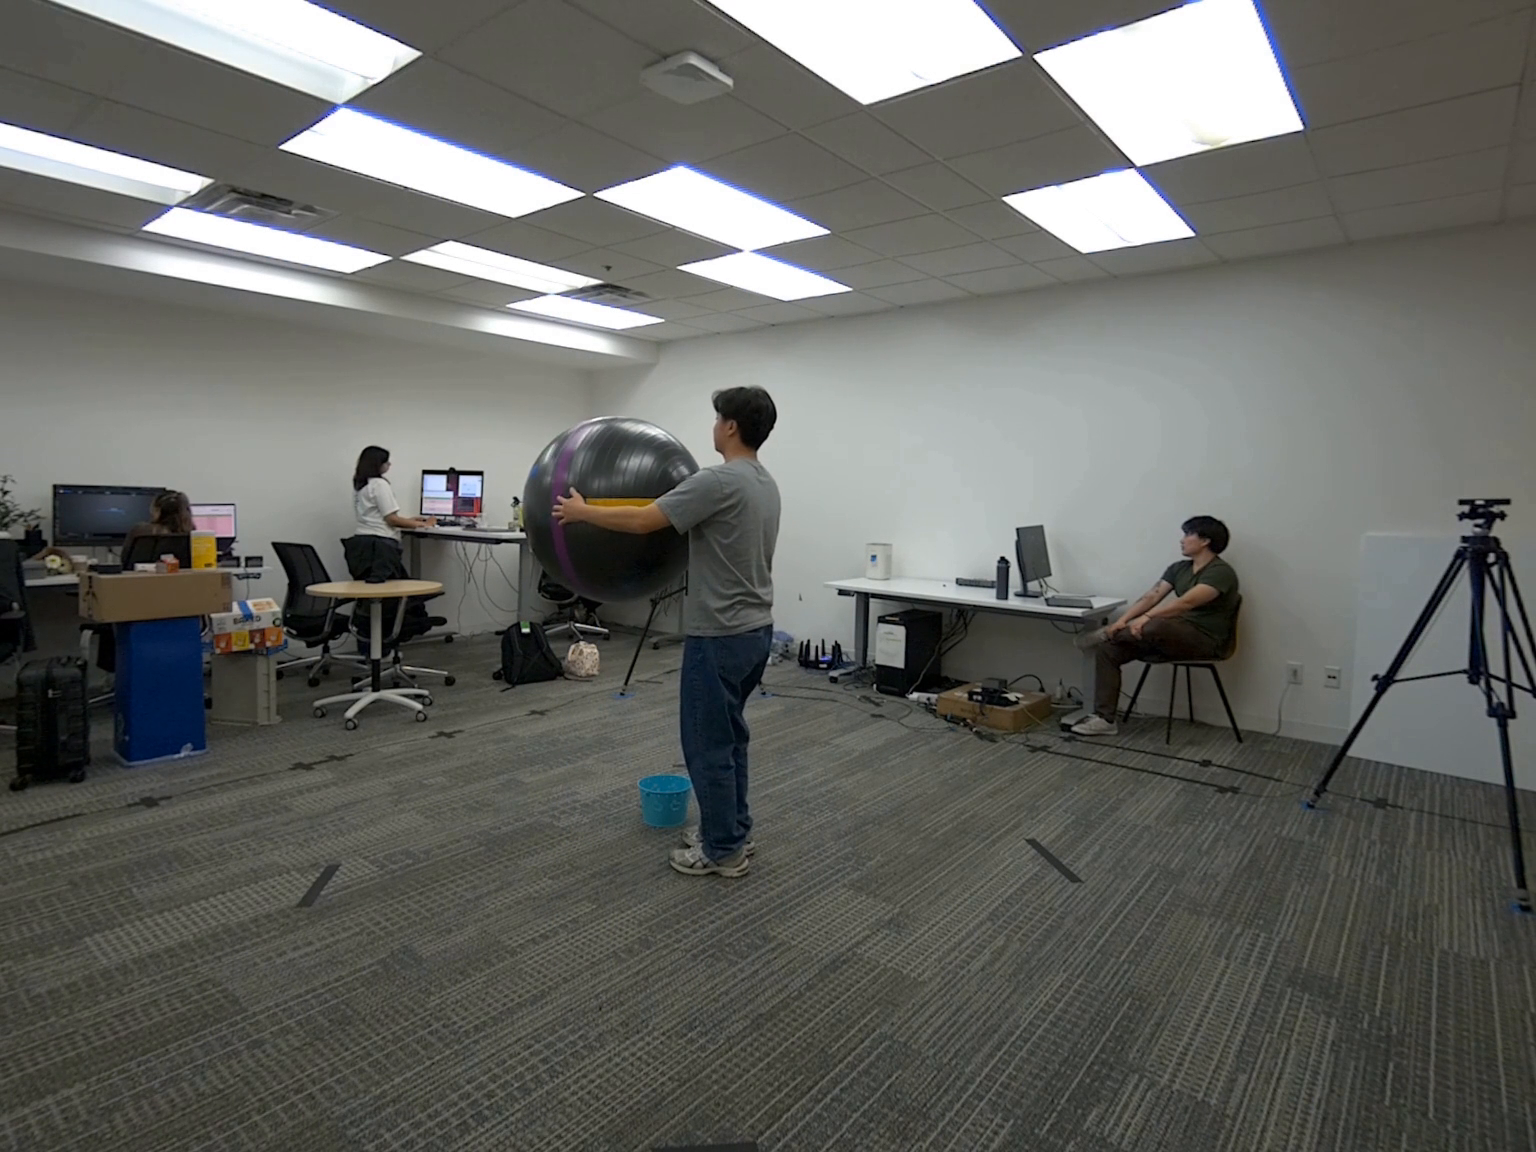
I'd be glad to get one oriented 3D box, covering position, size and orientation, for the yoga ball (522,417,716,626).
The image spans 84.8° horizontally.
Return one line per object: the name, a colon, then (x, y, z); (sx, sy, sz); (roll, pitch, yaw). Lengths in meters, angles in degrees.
yoga ball: (-0.636, -0.263, 3.479); (0.757, 0.756, 0.761); (1, 4, -2)
